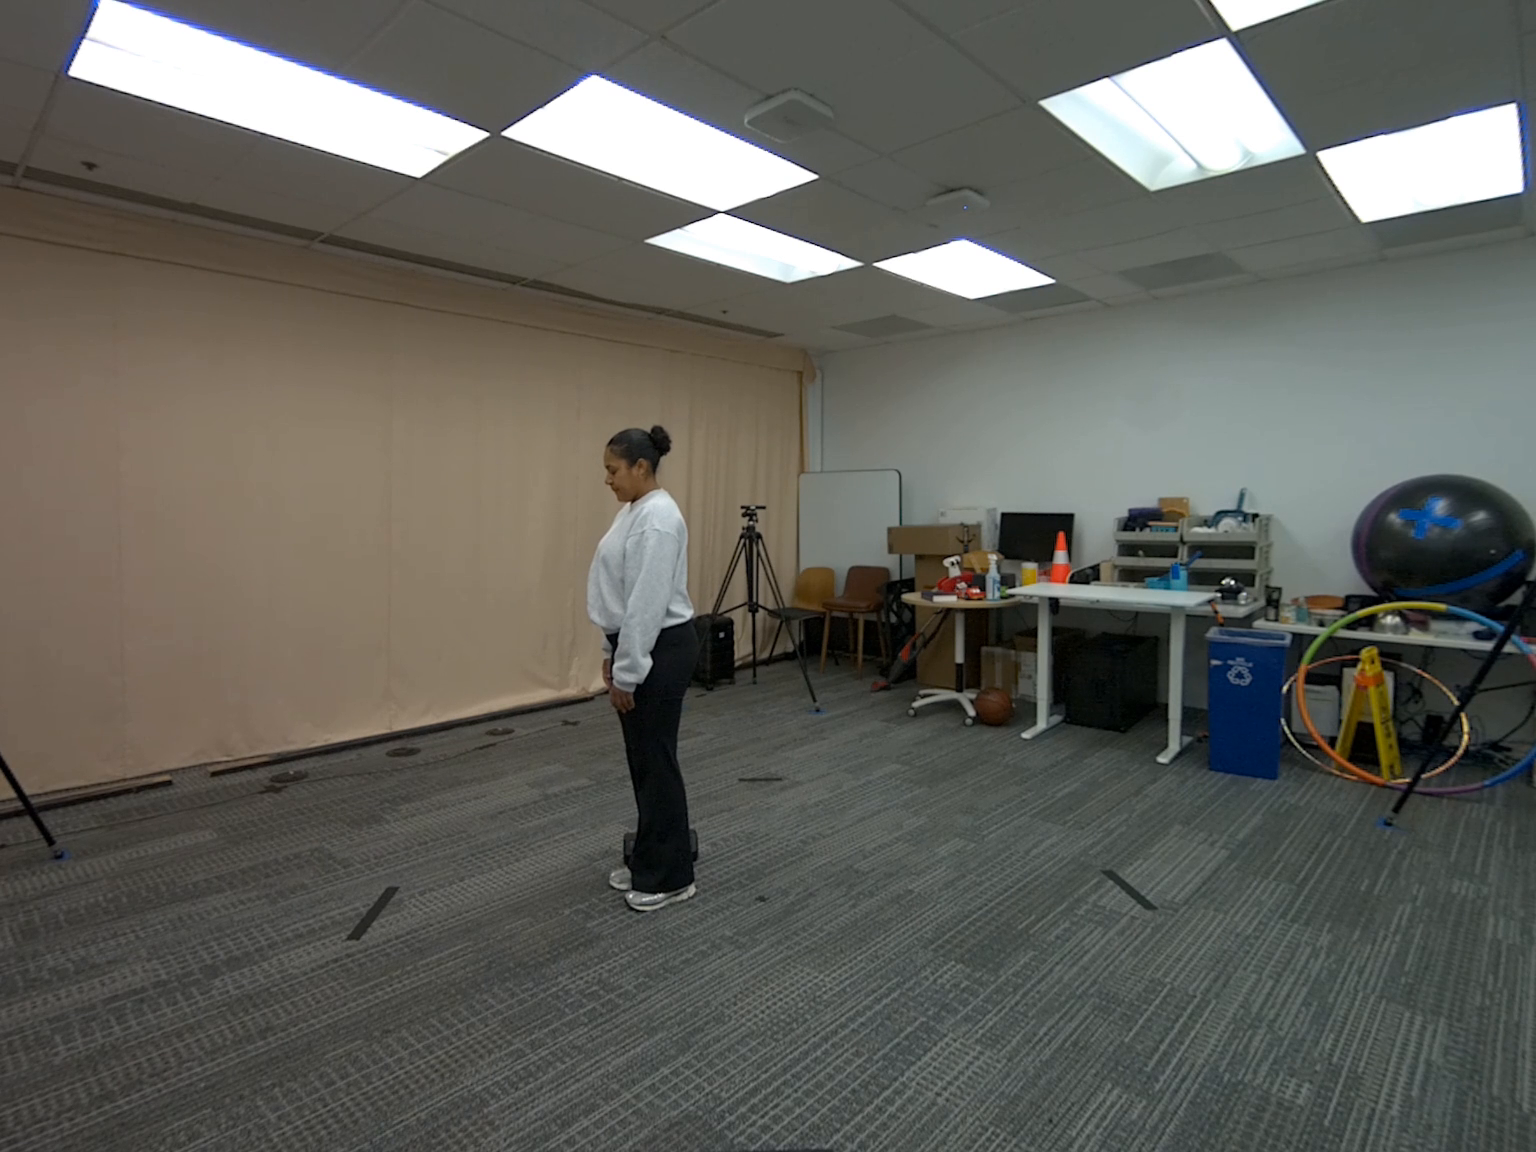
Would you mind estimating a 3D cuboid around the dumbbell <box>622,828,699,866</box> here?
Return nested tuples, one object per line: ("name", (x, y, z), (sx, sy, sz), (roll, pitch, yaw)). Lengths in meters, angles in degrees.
("dumbbell", (-0.422, 1.064, 3.304), (0.291, 0.121, 0.111), (-1, 36, -7))
